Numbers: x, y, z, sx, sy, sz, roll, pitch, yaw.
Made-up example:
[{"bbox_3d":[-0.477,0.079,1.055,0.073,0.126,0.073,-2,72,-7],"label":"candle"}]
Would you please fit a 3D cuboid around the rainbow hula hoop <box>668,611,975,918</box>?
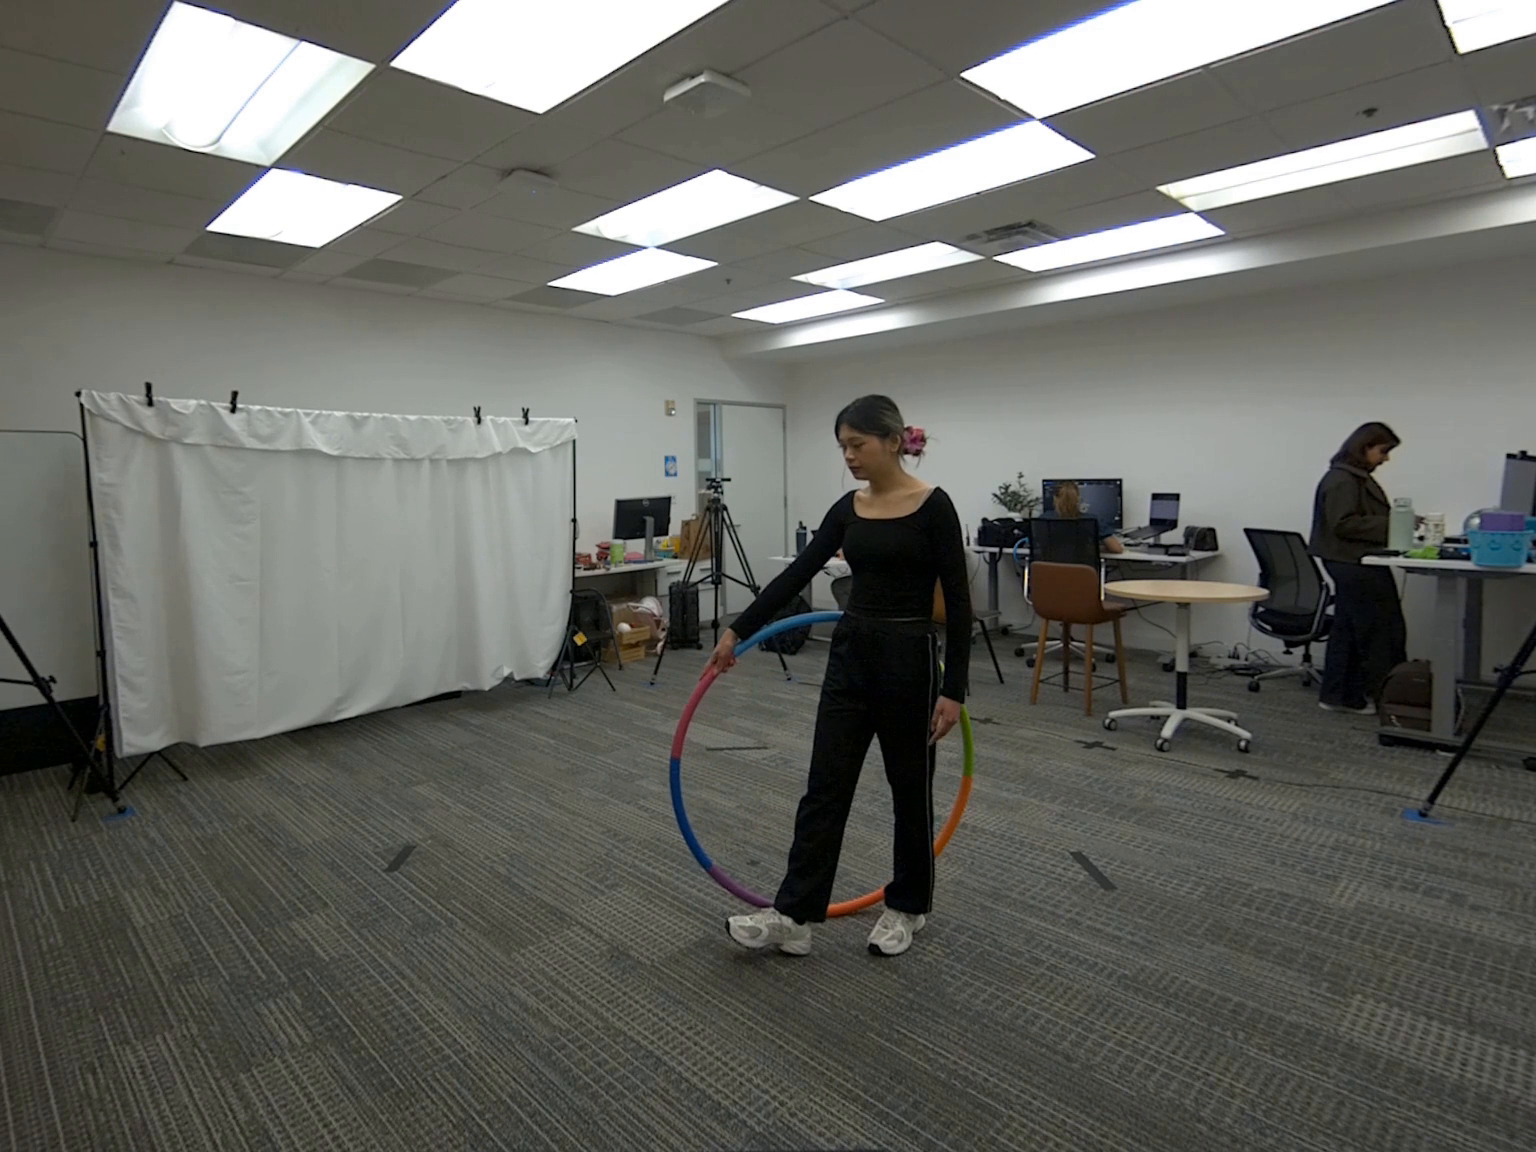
[{"bbox_3d":[0.189,0.600,2.681,0.969,0.974,0.036,-2,5,-10],"label":"rainbow hula hoop"}]
